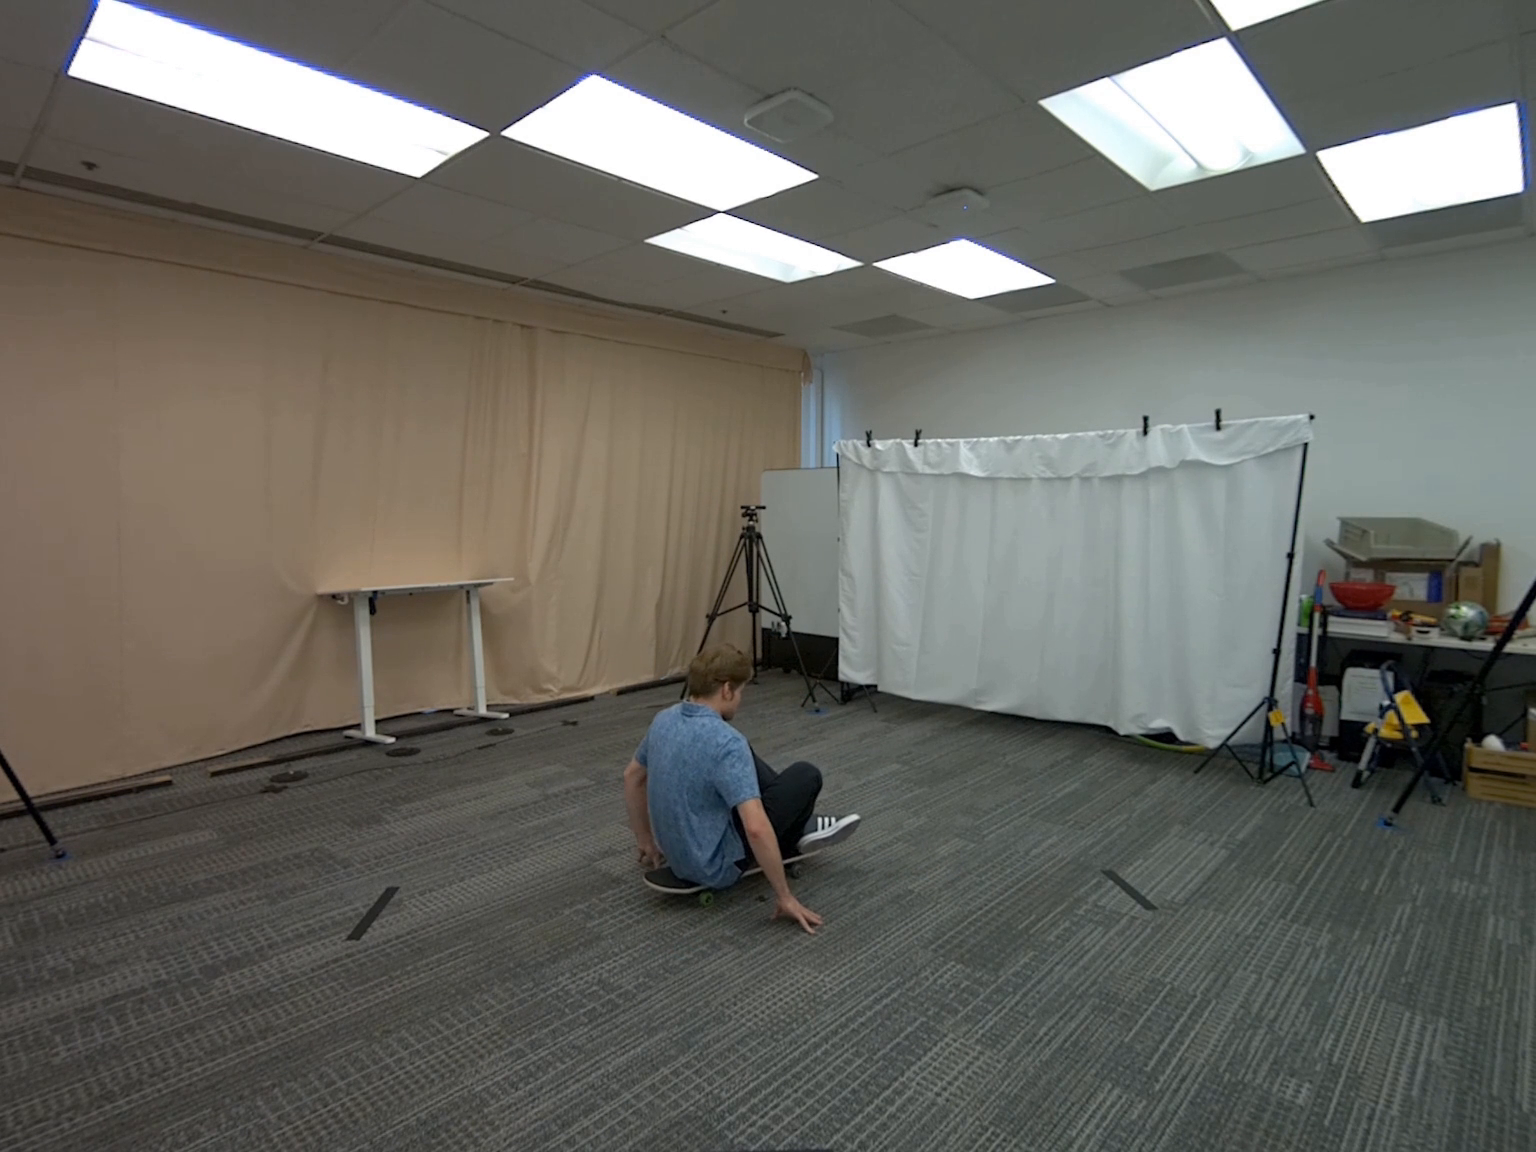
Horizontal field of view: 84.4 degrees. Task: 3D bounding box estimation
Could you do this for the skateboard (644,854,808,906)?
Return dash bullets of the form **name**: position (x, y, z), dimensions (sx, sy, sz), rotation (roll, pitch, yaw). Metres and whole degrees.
- **skateboard**: position (-0.095, 1.095, 3.115), dimensions (0.763, 0.110, 0.199), rotation (-5, 5, -34)
